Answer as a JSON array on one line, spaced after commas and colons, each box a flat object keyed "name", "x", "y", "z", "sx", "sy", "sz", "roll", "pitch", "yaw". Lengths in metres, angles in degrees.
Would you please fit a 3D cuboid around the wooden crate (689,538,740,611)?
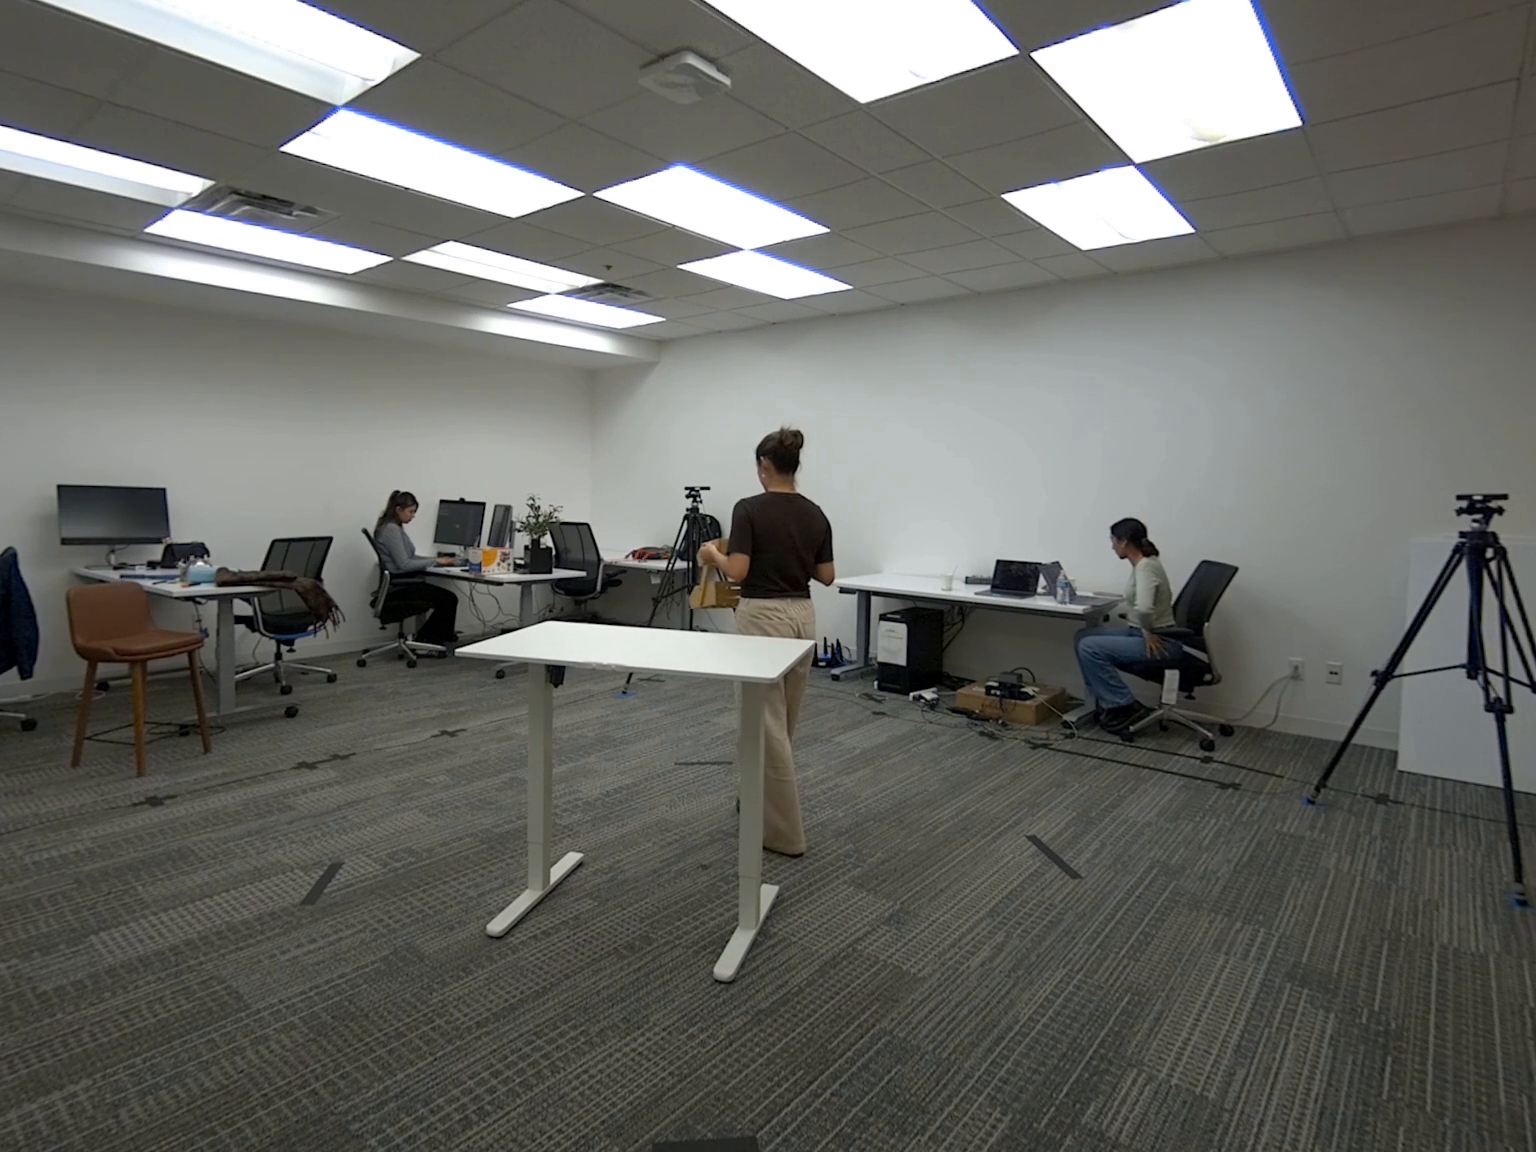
[{"name": "wooden crate", "x": -0.151, "y": -0.014, "z": 3.601, "sx": 0.316, "sy": 0.275, "sz": 0.308, "roll": -1, "pitch": -7, "yaw": -29}]
